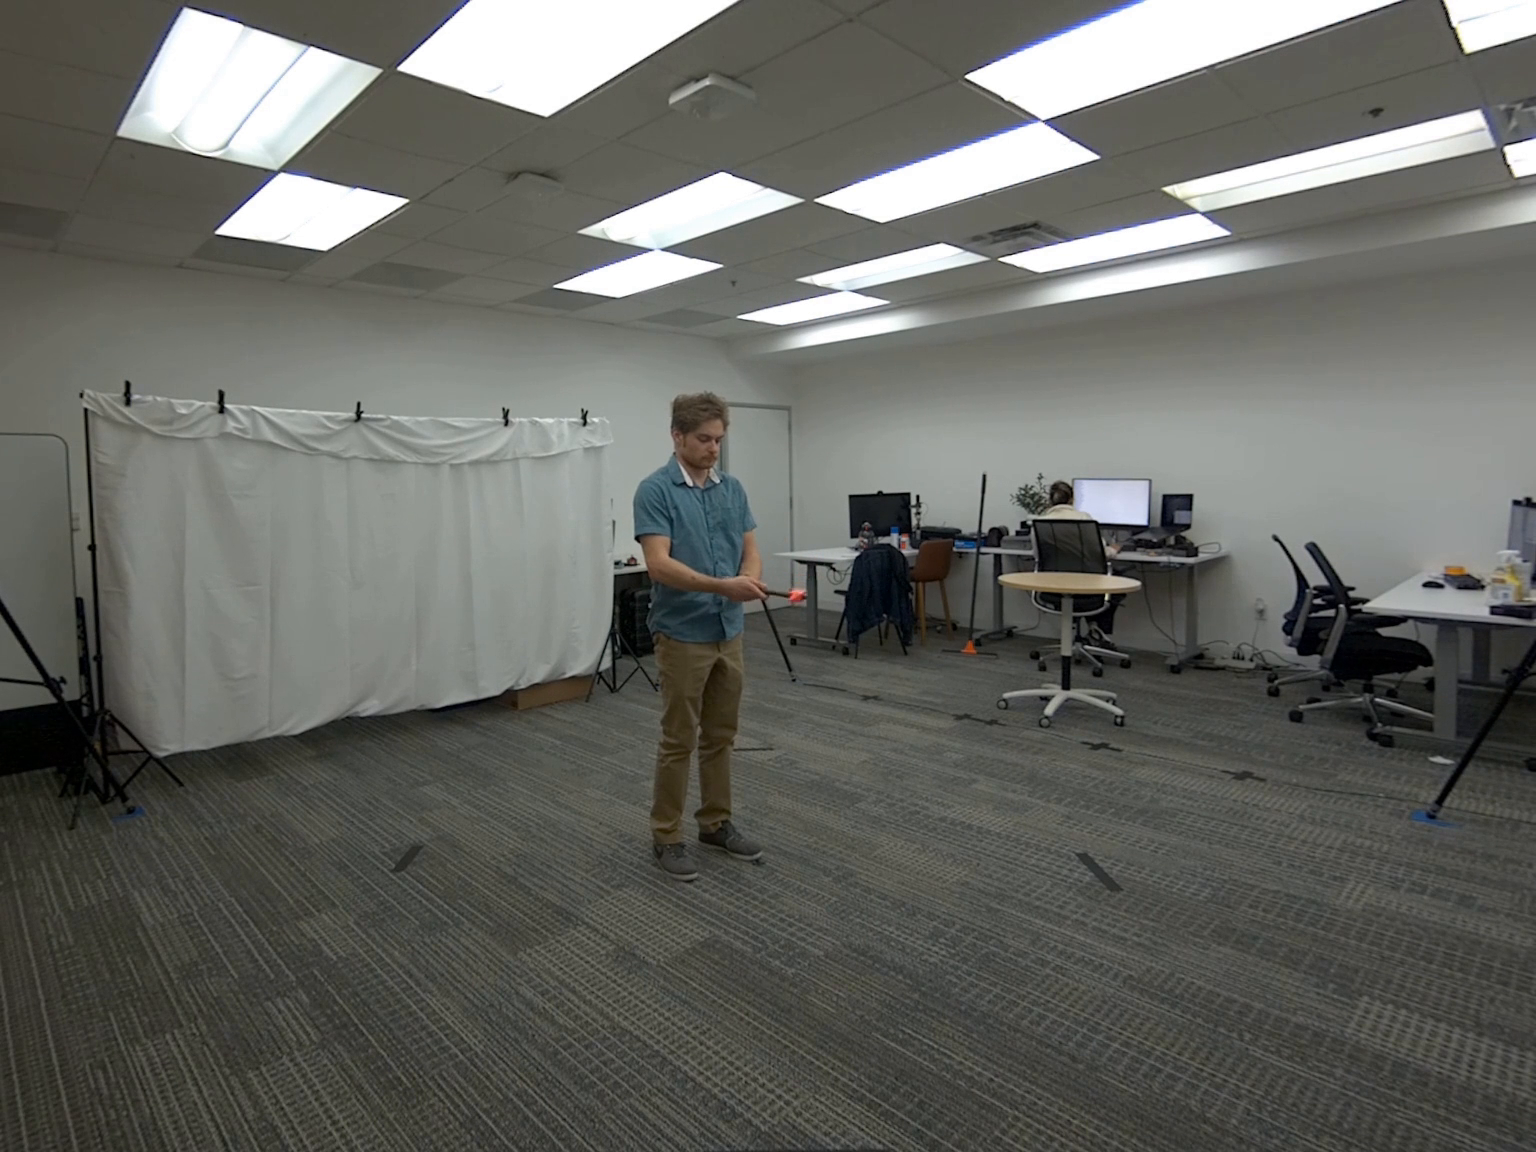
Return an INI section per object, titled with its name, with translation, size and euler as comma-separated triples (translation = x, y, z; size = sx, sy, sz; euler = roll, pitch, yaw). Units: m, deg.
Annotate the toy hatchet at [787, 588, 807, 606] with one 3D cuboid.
[toy hatchet]
translation = 0.019, 0.049, 2.806
size = 0.279, 0.029, 0.128
euler = 9, 14, 40
